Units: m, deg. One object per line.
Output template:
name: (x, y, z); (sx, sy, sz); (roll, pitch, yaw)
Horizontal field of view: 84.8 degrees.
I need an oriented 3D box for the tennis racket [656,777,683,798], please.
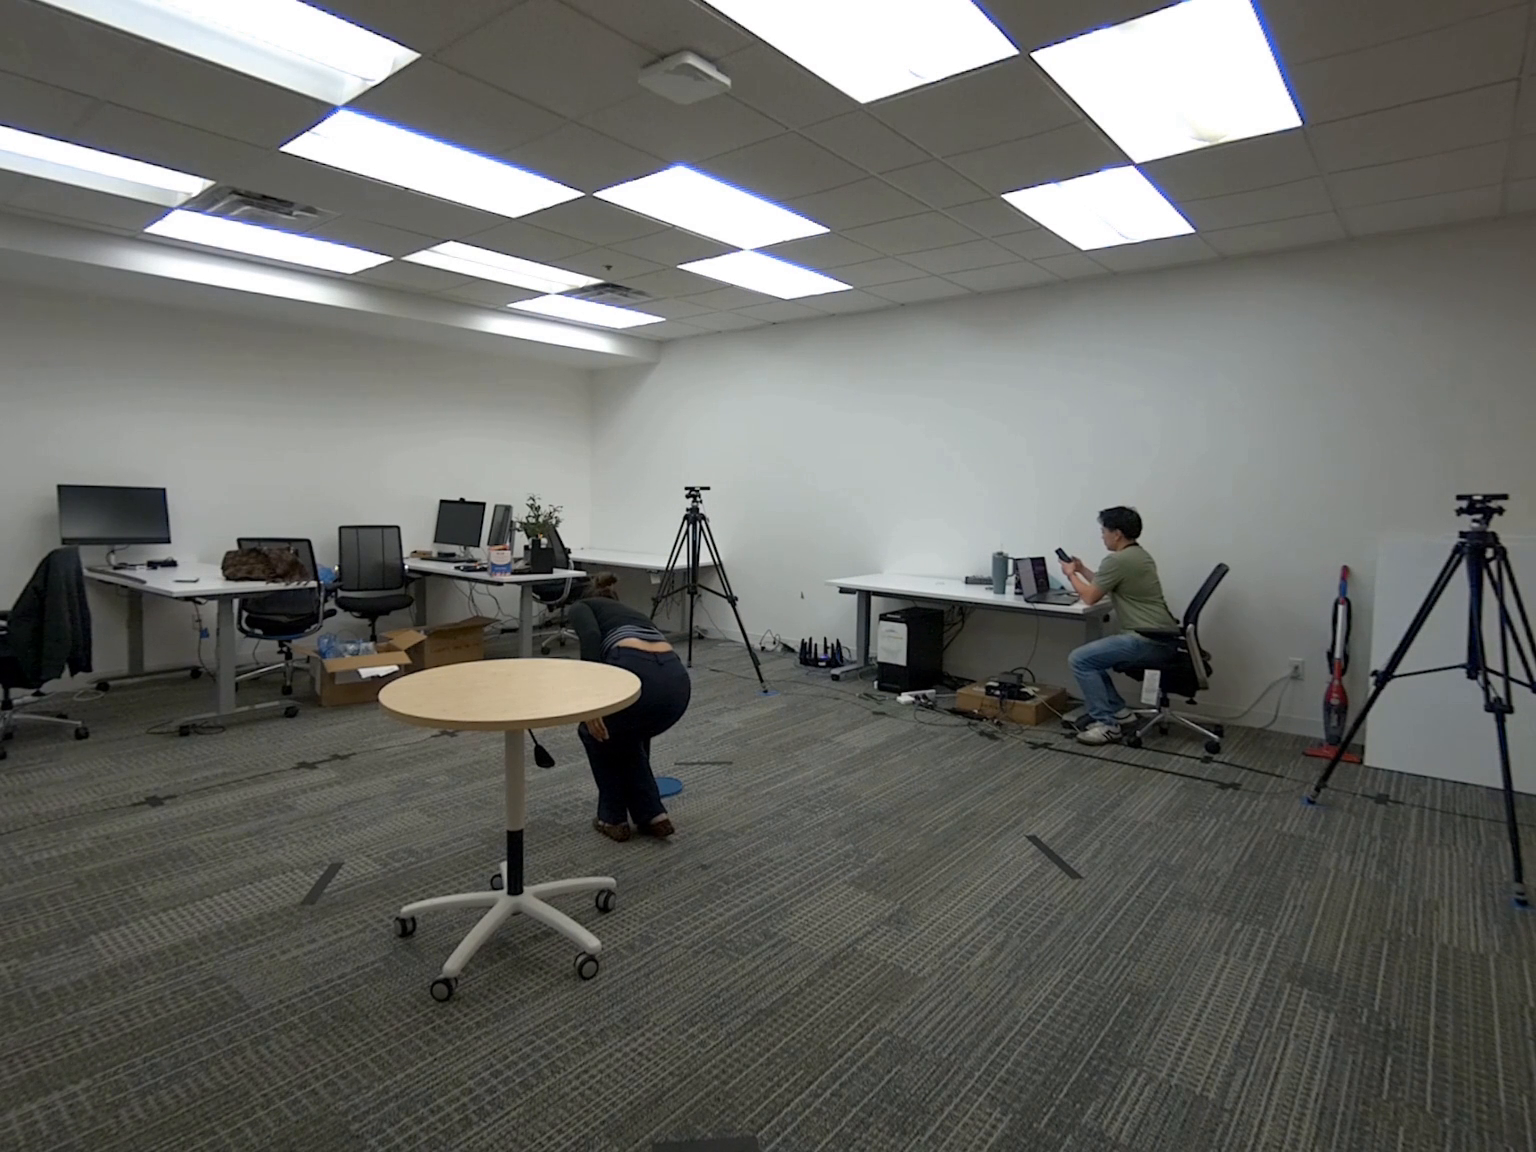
tennis racket: (-0.519, 0.974, 3.849); (0.215, 0.031, 0.431); (2, 4, 4)
